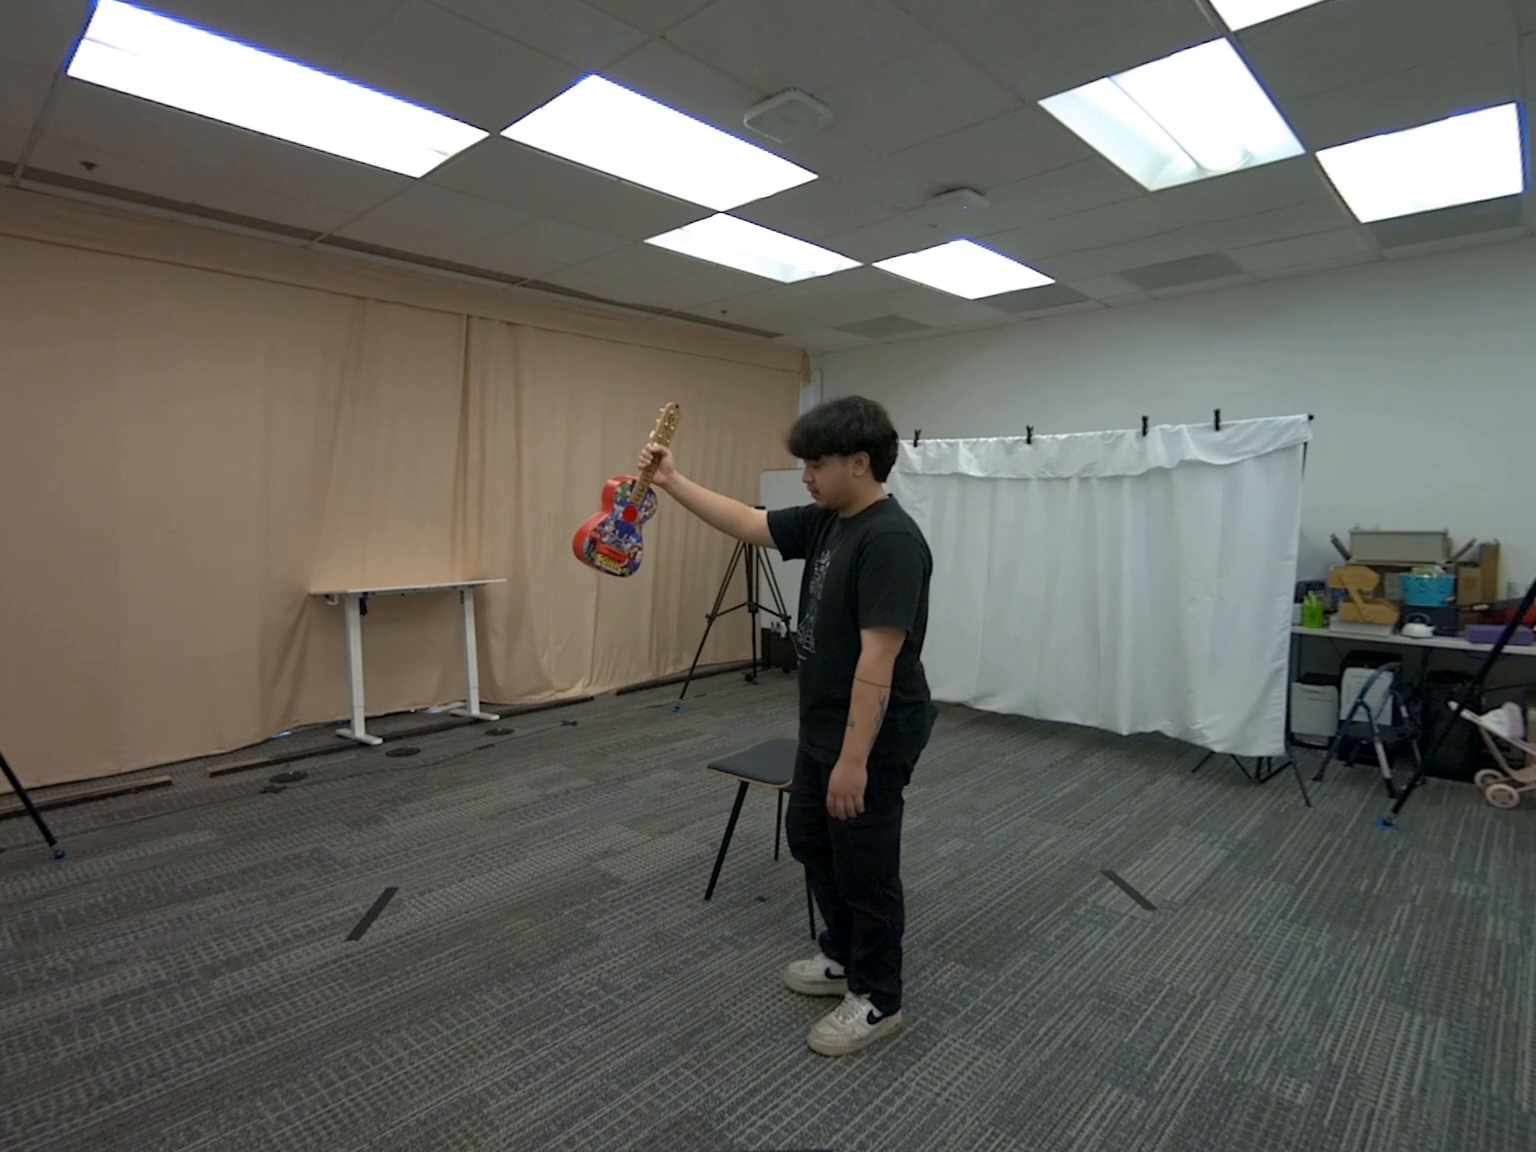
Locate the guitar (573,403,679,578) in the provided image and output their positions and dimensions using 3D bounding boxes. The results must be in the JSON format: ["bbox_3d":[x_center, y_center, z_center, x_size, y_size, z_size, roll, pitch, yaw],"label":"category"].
[{"bbox_3d":[-0.341,-0.227,2.316,0.186,0.498,0.073,36,-12,-37],"label":"guitar"}]
